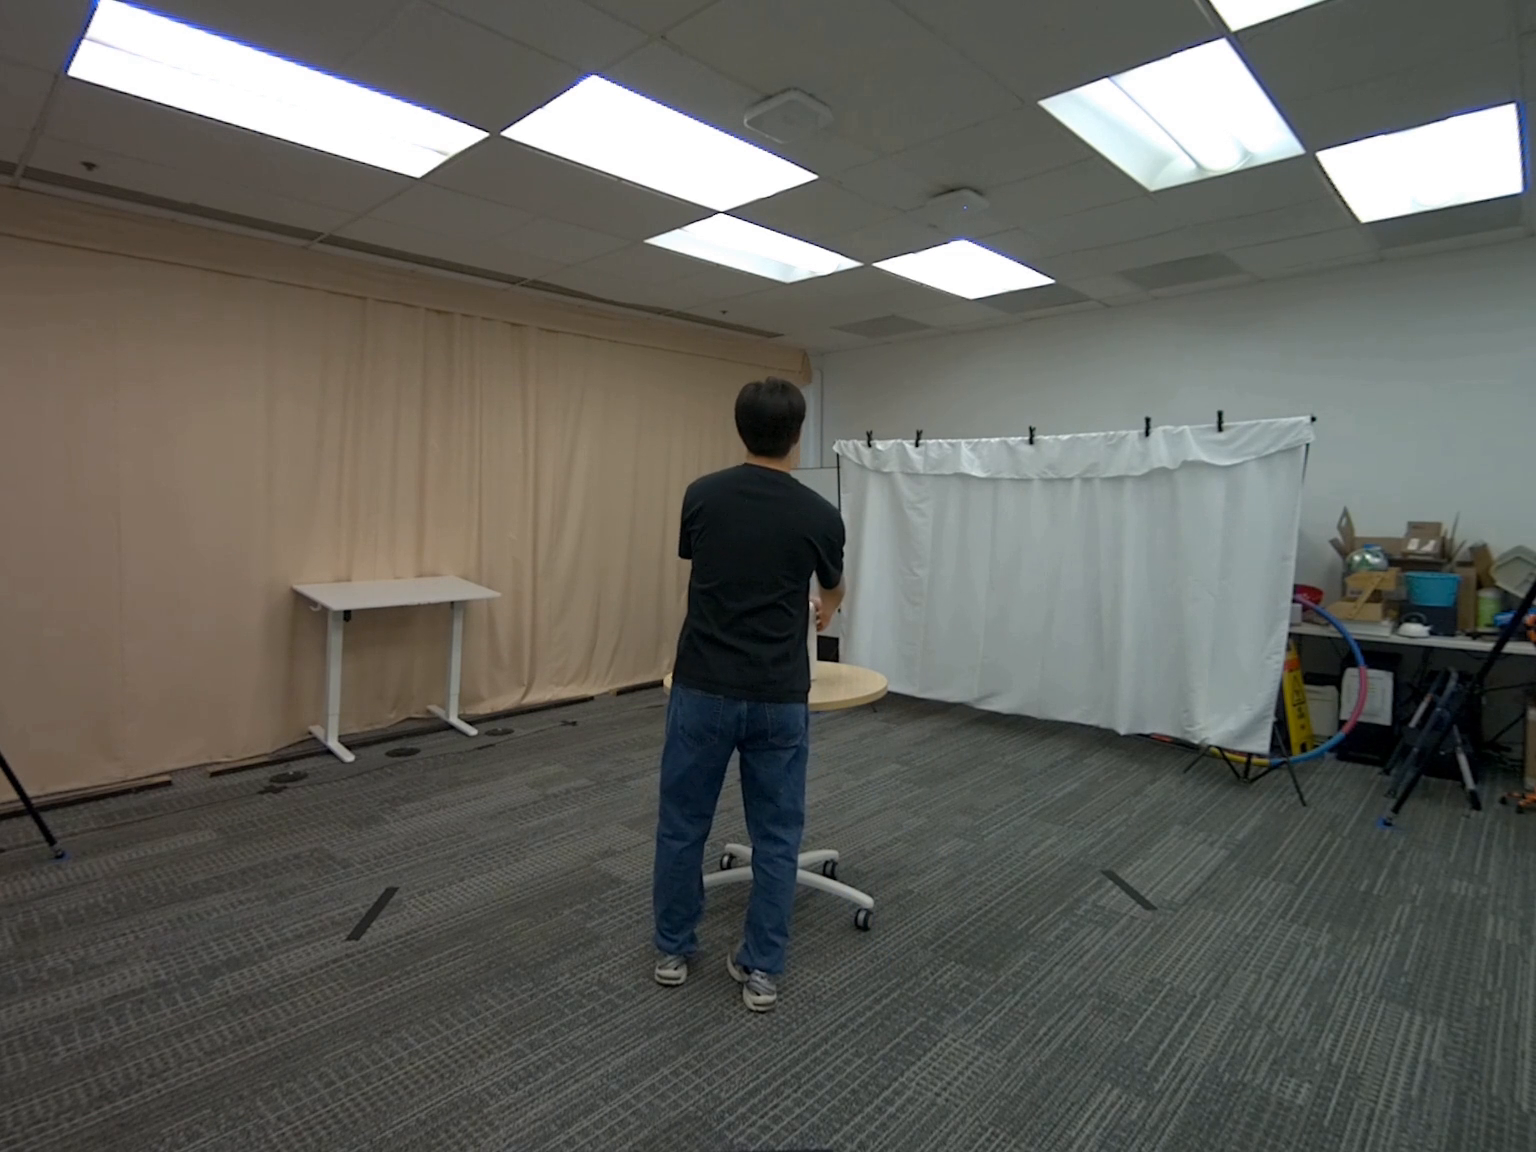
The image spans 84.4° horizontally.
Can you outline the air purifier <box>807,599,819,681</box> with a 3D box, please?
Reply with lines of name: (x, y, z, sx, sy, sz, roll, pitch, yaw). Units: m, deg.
air purifier: (0.085, 0.221, 2.922, 0.172, 0.265, 0.171, -1, 4, 1)
